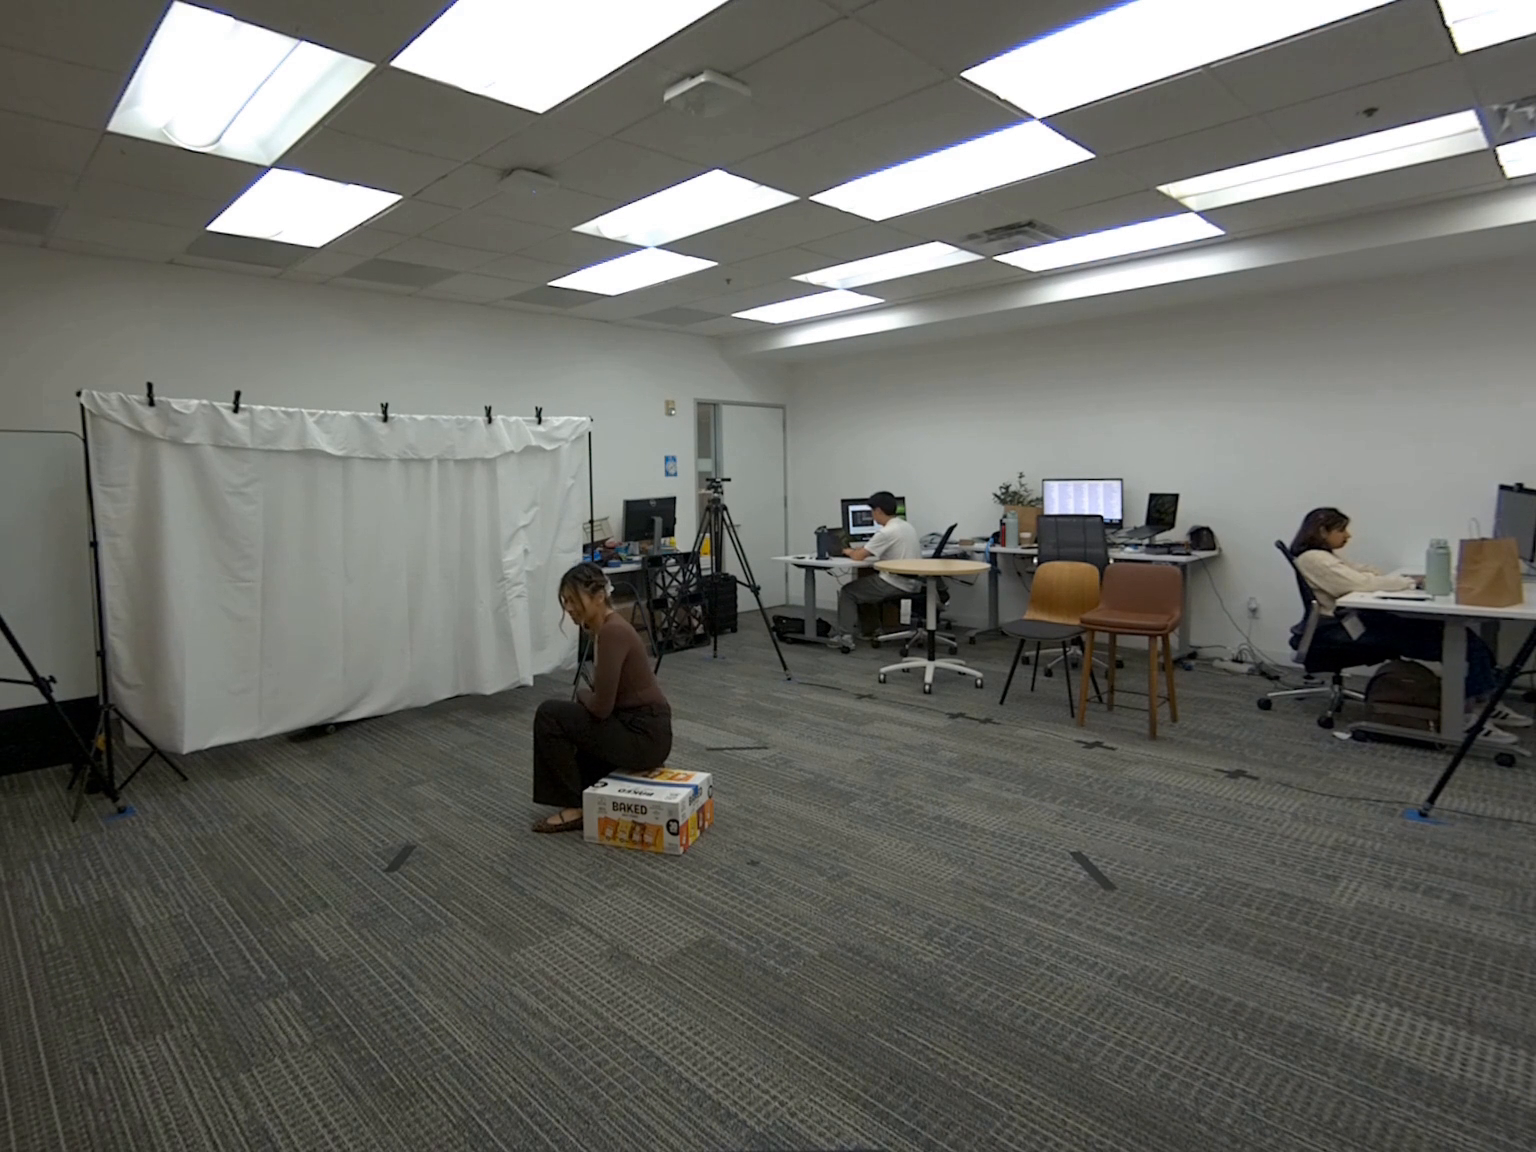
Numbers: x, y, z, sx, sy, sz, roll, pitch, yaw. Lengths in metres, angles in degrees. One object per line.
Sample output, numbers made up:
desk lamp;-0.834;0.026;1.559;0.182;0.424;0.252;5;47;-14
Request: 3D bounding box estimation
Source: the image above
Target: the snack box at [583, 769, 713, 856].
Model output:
snack box;-0.469;0.918;3.386;0.413;0.205;0.335;1;5;20
